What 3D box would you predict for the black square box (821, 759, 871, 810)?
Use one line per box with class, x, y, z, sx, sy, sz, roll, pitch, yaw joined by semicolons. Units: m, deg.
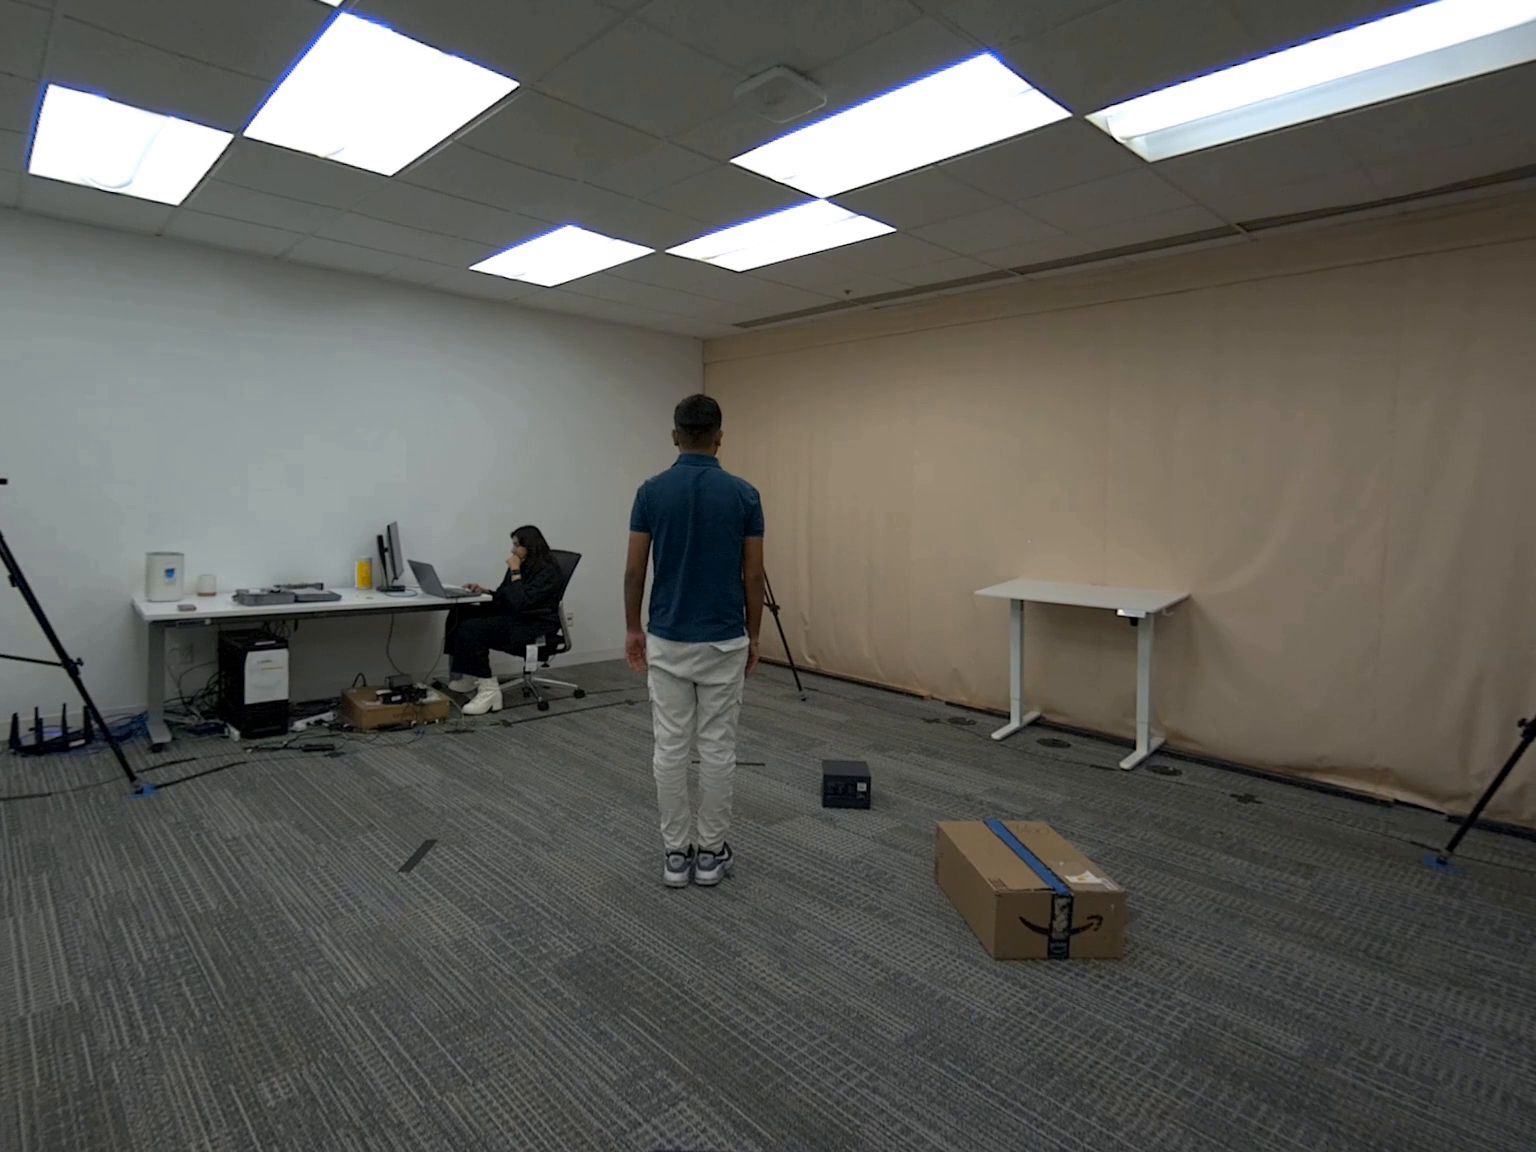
black square box;0.351;0.960;3.929;0.217;0.155;0.228;1;4;2
